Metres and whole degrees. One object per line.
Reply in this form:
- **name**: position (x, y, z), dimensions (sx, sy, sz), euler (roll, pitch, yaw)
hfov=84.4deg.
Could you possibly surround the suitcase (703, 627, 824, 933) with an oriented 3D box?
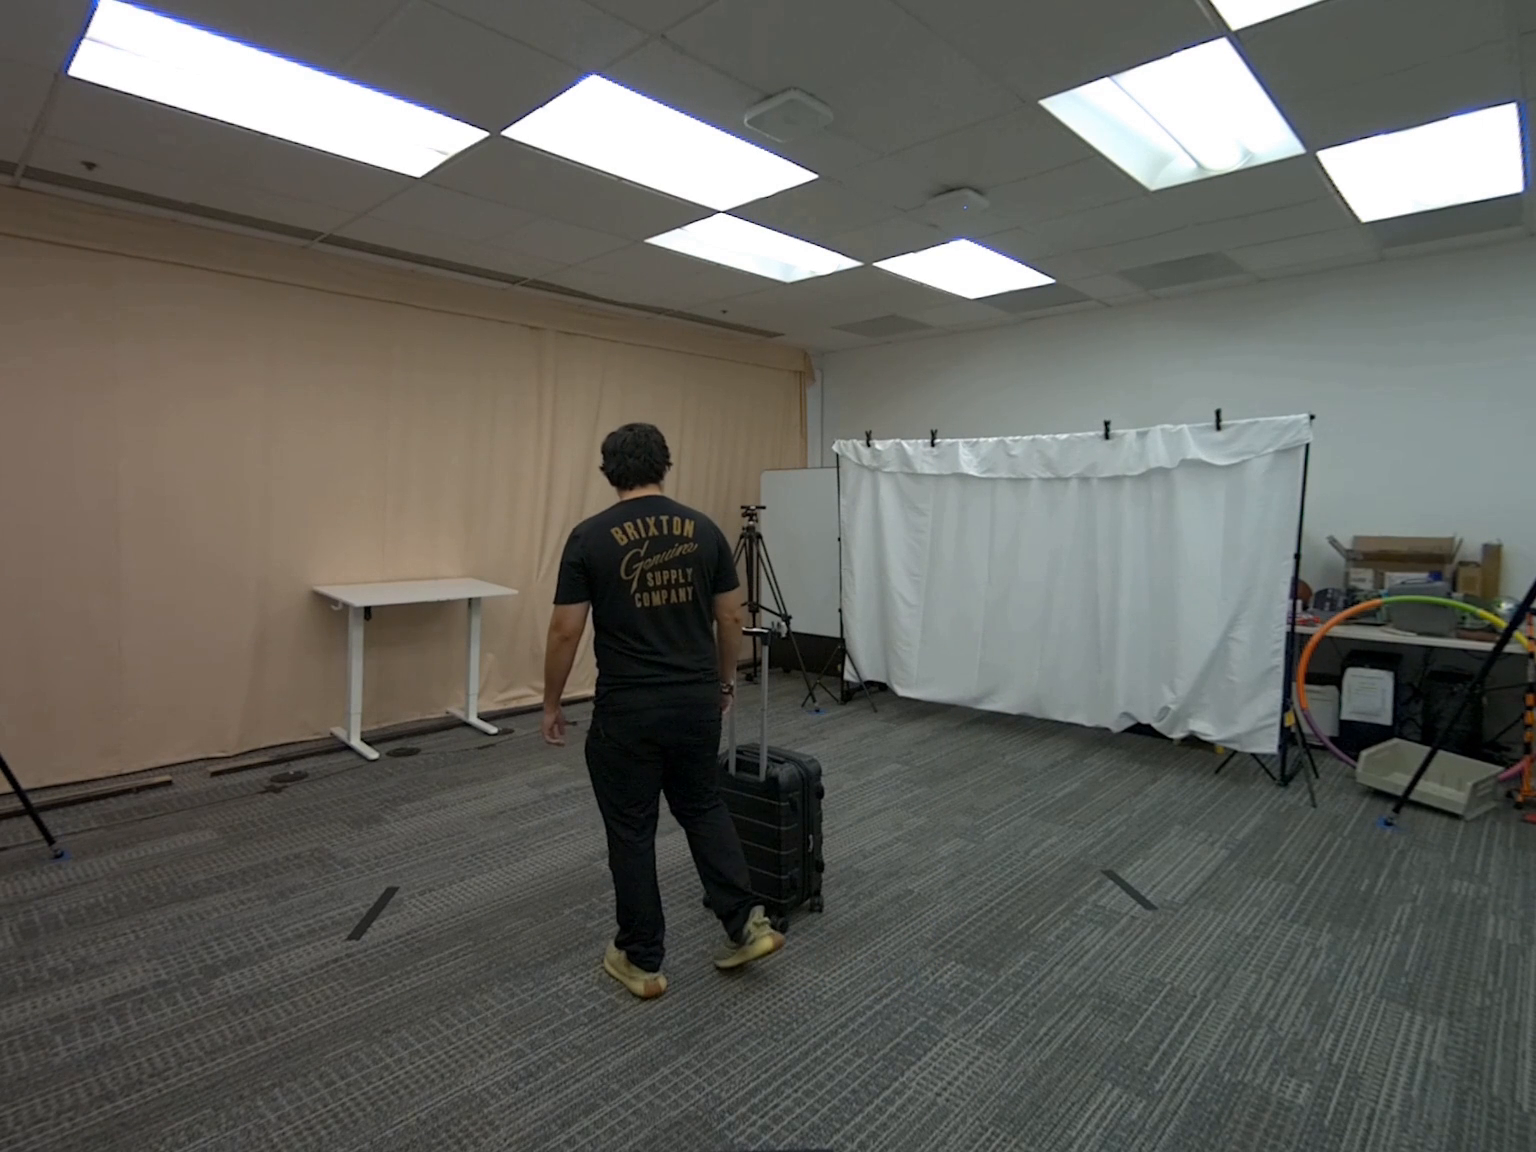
- **suitcase**: position (0.000, 0.672, 2.913), dimensions (0.396, 0.978, 0.249), euler (2, 1, 39)
